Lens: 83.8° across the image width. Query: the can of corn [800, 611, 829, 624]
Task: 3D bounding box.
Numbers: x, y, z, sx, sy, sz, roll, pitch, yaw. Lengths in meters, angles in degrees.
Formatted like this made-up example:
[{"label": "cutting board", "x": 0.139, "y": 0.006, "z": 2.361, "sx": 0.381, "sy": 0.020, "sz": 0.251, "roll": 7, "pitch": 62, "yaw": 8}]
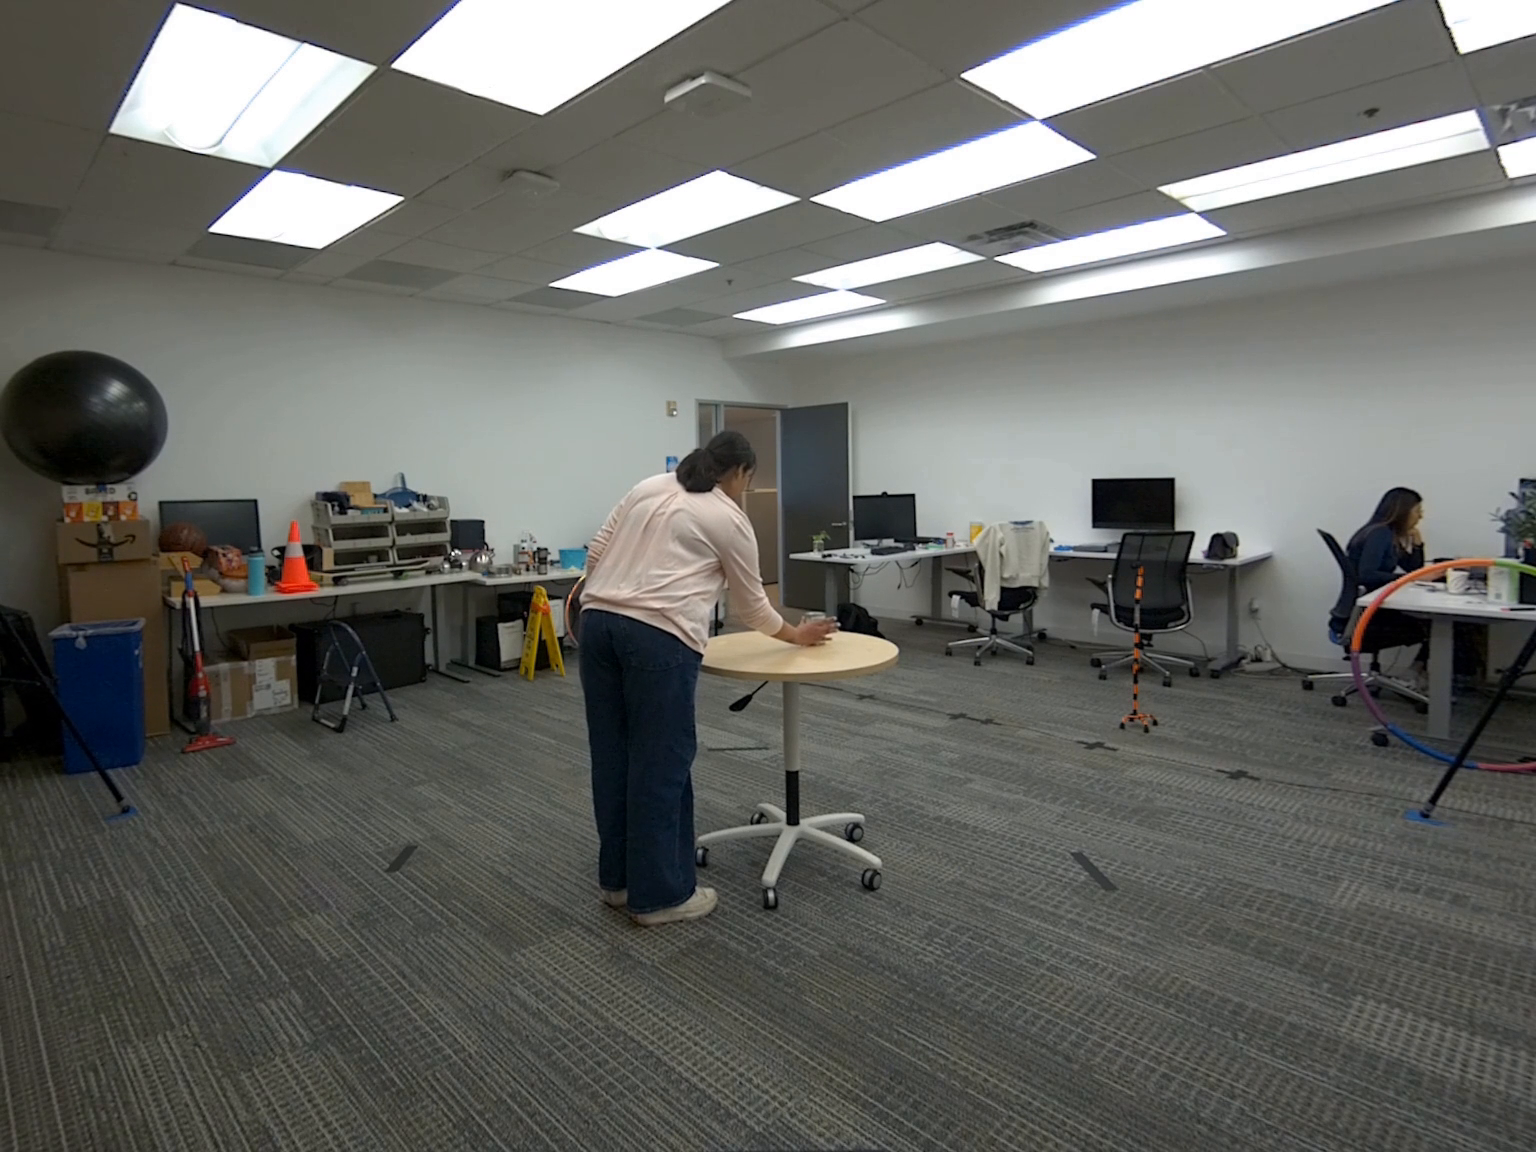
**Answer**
[{"label": "can of corn", "x": 0.180, "y": 0.195, "z": 3.132, "sx": 0.074, "sy": 0.110, "sz": 0.075, "roll": 2, "pitch": 6, "yaw": -2}]
